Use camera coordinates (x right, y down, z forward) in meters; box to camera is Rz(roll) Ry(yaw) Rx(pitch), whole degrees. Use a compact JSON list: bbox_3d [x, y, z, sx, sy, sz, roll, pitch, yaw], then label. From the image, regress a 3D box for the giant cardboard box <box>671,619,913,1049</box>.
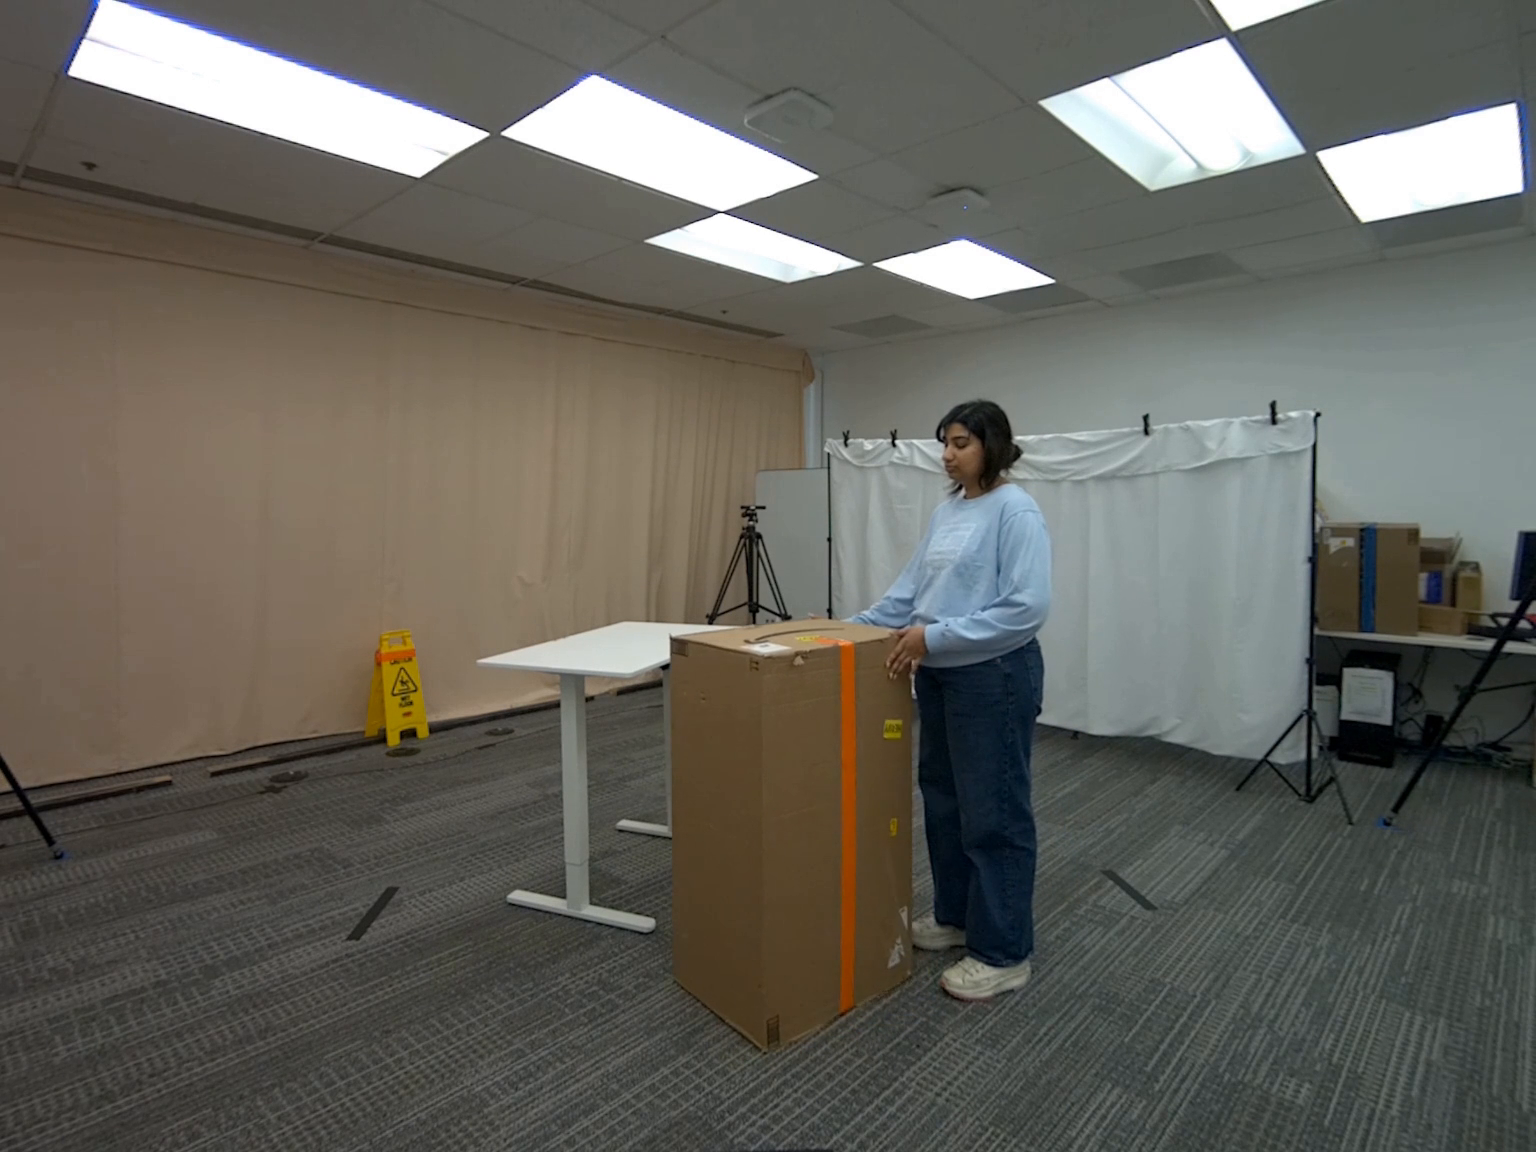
[{"bbox_3d":[0.073,0.685,2.448,0.560,1.024,0.440,-3,4,-39],"label":"giant cardboard box"}]
